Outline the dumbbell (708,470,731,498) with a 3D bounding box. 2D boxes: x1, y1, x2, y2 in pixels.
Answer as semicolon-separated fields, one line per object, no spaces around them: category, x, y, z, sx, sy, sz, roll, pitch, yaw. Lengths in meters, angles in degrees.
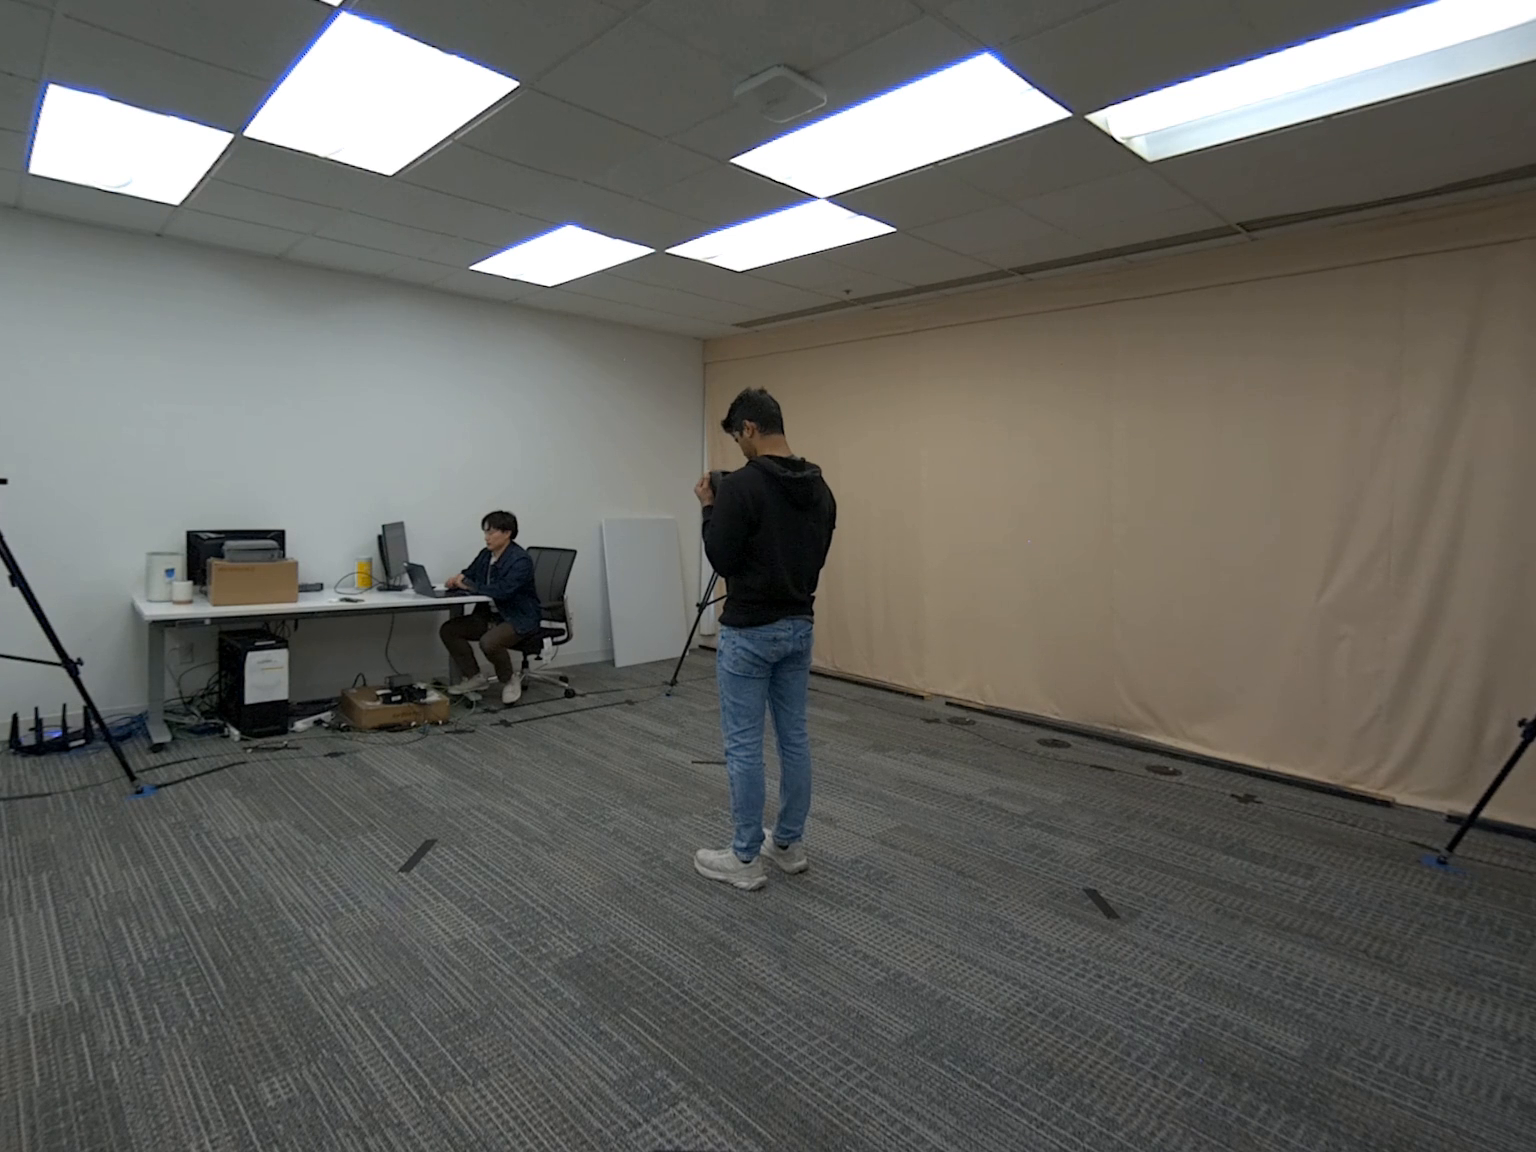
dumbbell;-0.087;-0.328;3.188;0.287;0.108;0.126;-4;16;-38
